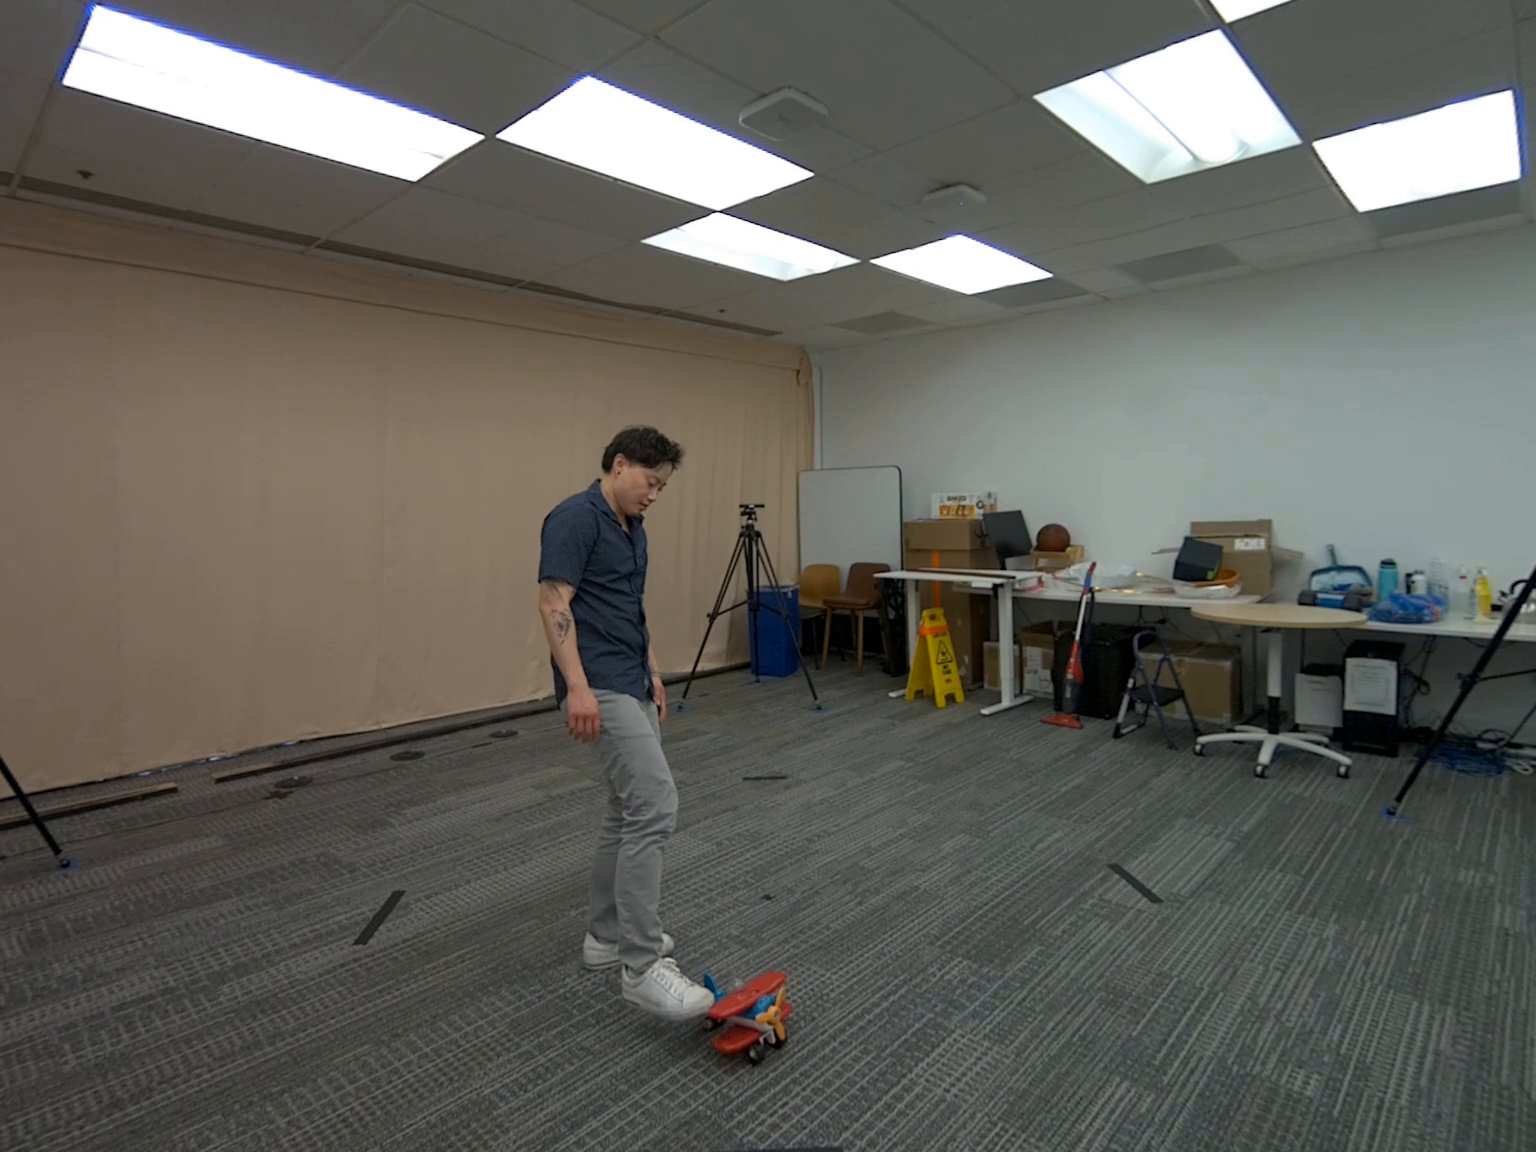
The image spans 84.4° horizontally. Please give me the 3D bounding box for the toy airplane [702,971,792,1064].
[{"bbox_3d":[-0.077,1.142,2.164,0.264,0.156,0.247,1,6,16],"label":"toy airplane"}]
